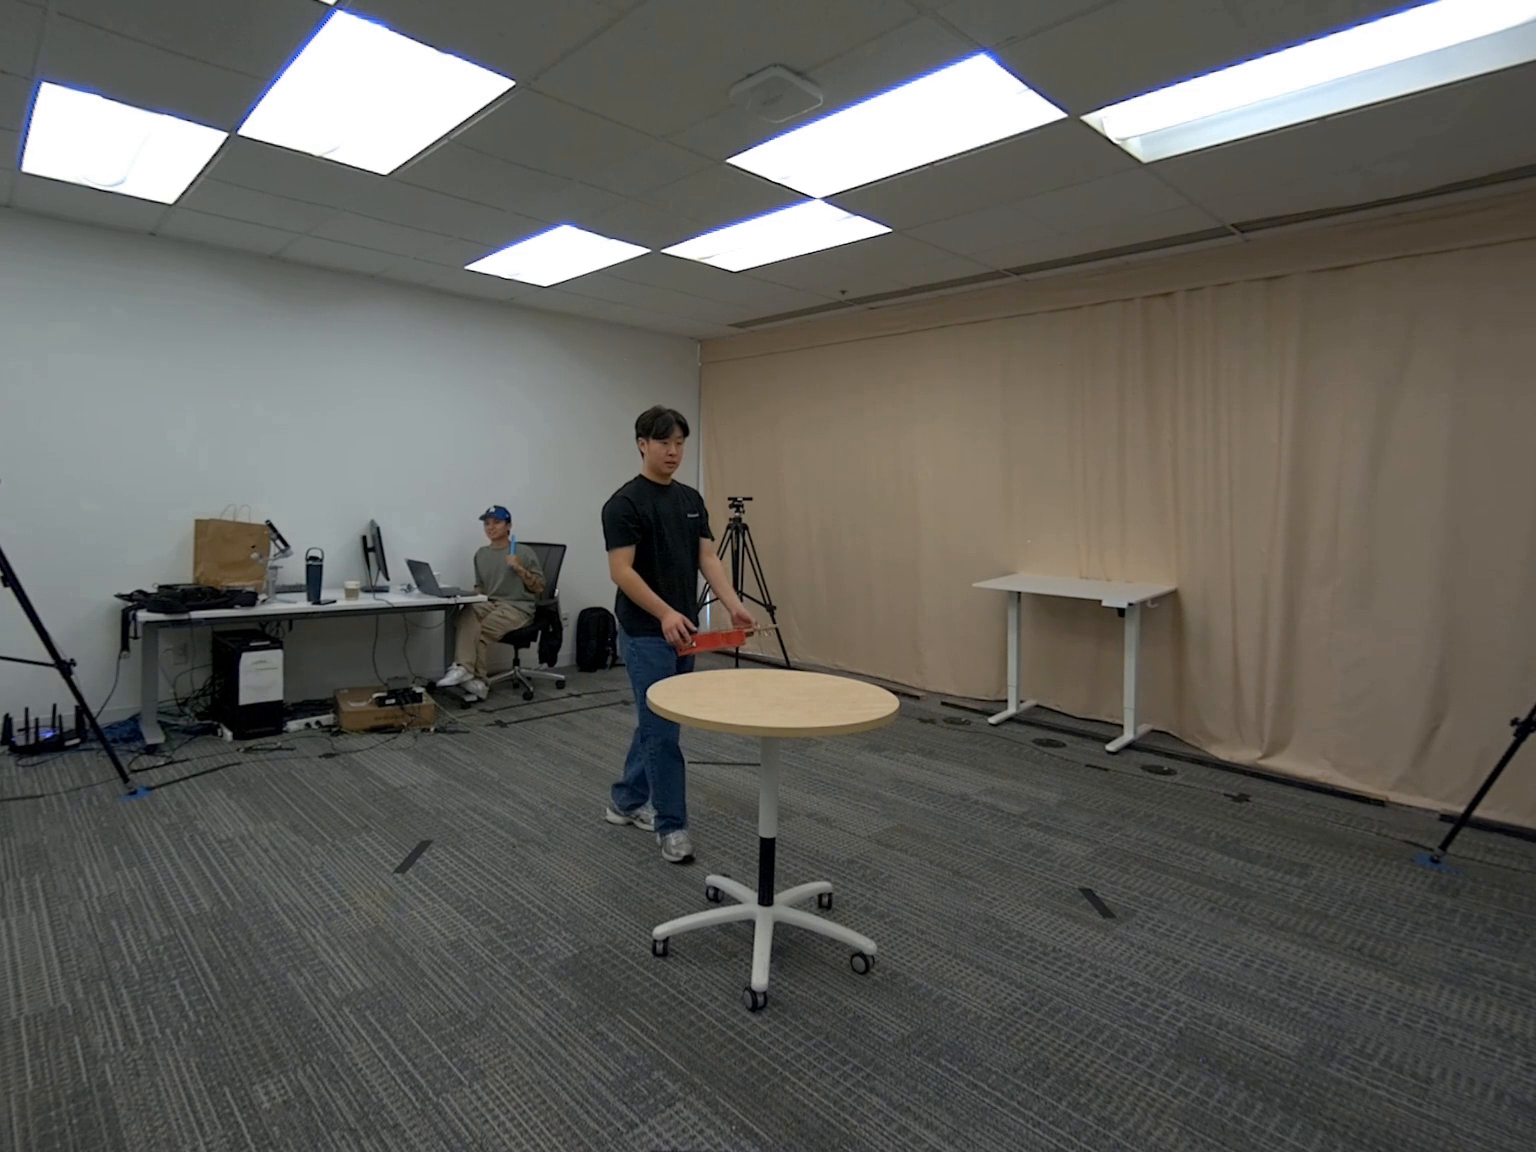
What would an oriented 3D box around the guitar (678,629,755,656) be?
[{"bbox_3d":[-0.122,0.238,3.251,0.488,0.071,0.195,-6,-8,-30],"label":"guitar"}]
